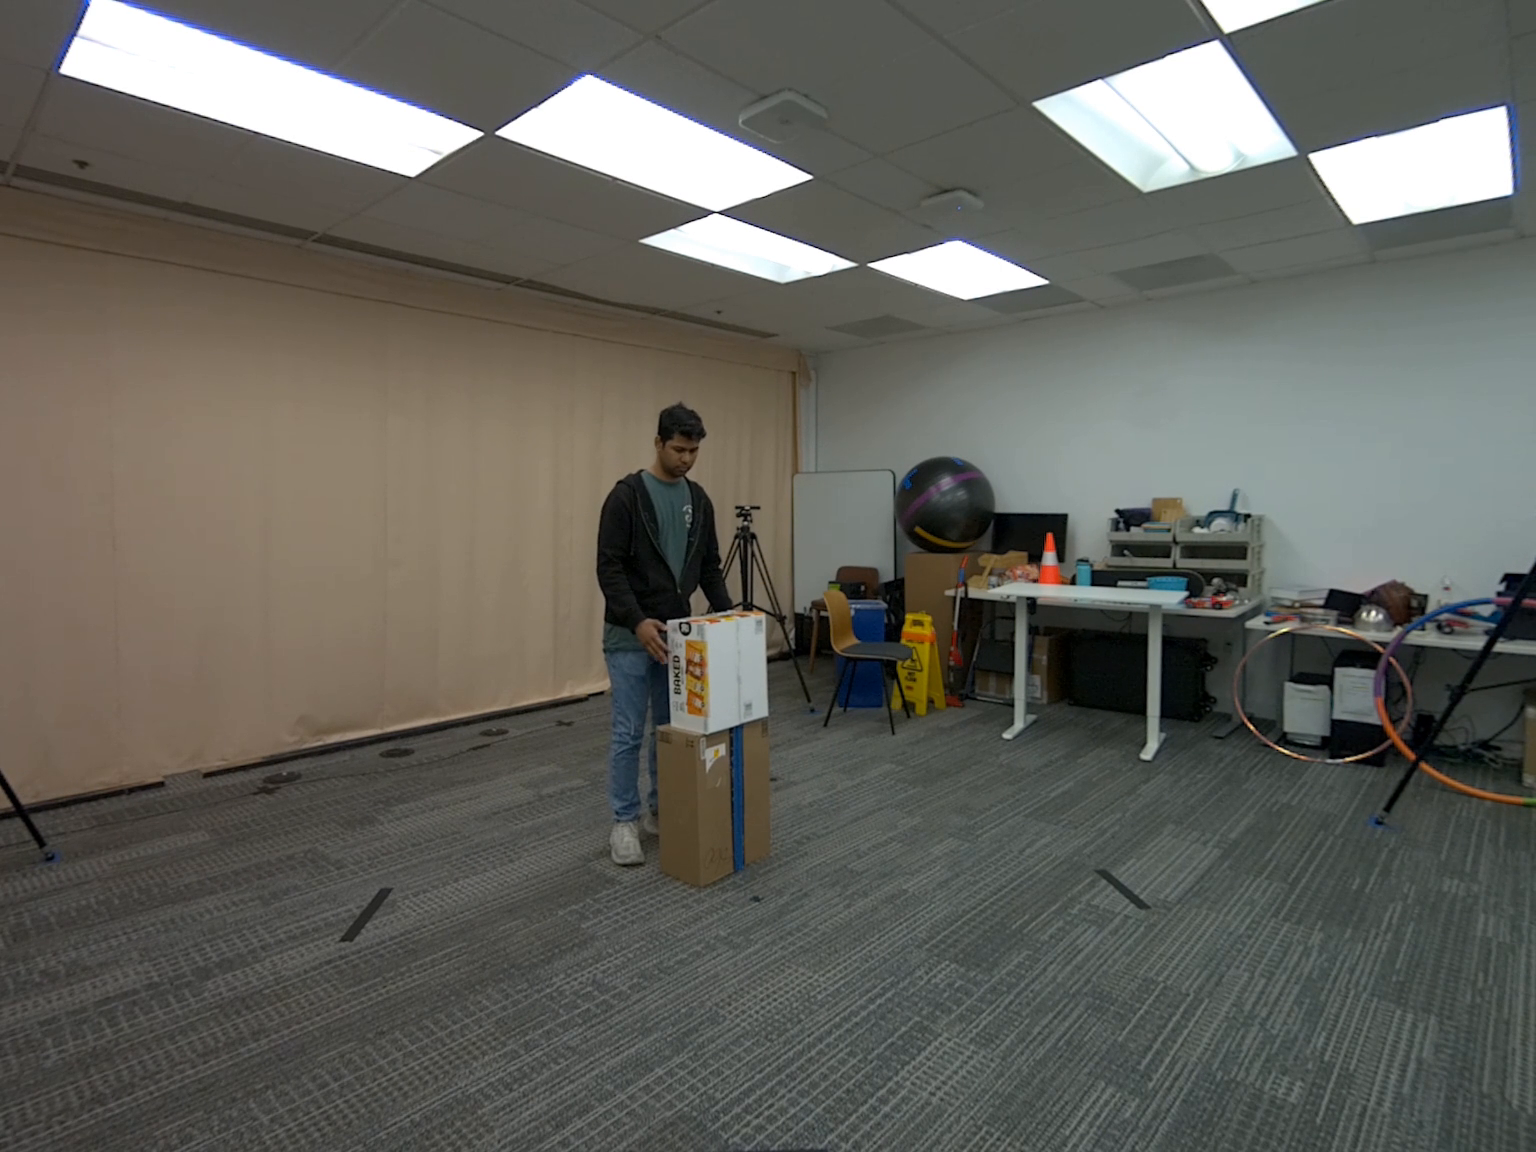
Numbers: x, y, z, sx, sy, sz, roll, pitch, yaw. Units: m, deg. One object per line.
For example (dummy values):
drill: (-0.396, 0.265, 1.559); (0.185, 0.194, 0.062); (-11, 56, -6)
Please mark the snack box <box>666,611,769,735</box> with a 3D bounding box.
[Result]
snack box: (-0.185, 0.354, 3.221); (0.212, 0.404, 0.330); (0, 3, 42)
